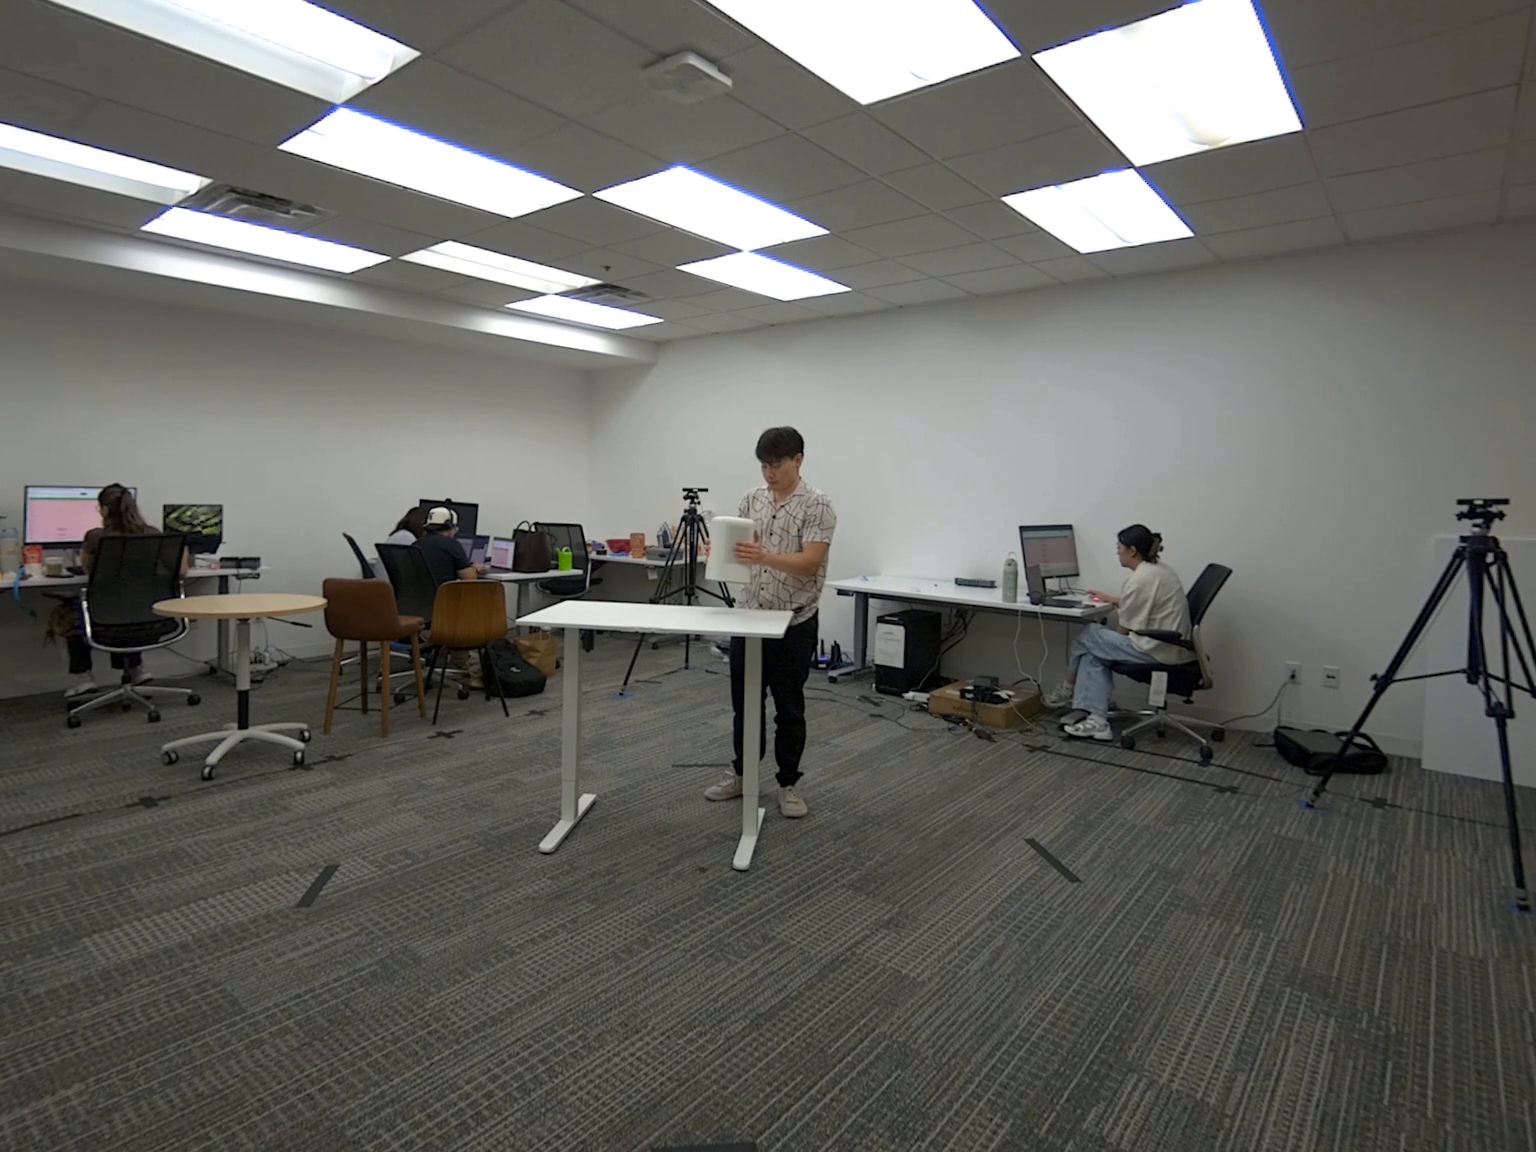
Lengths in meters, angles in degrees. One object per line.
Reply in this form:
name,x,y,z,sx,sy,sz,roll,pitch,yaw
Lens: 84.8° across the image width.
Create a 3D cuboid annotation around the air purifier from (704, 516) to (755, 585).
air purifier,-0.166,-0.113,3.506,0.169,0.265,0.174,4,0,-15
